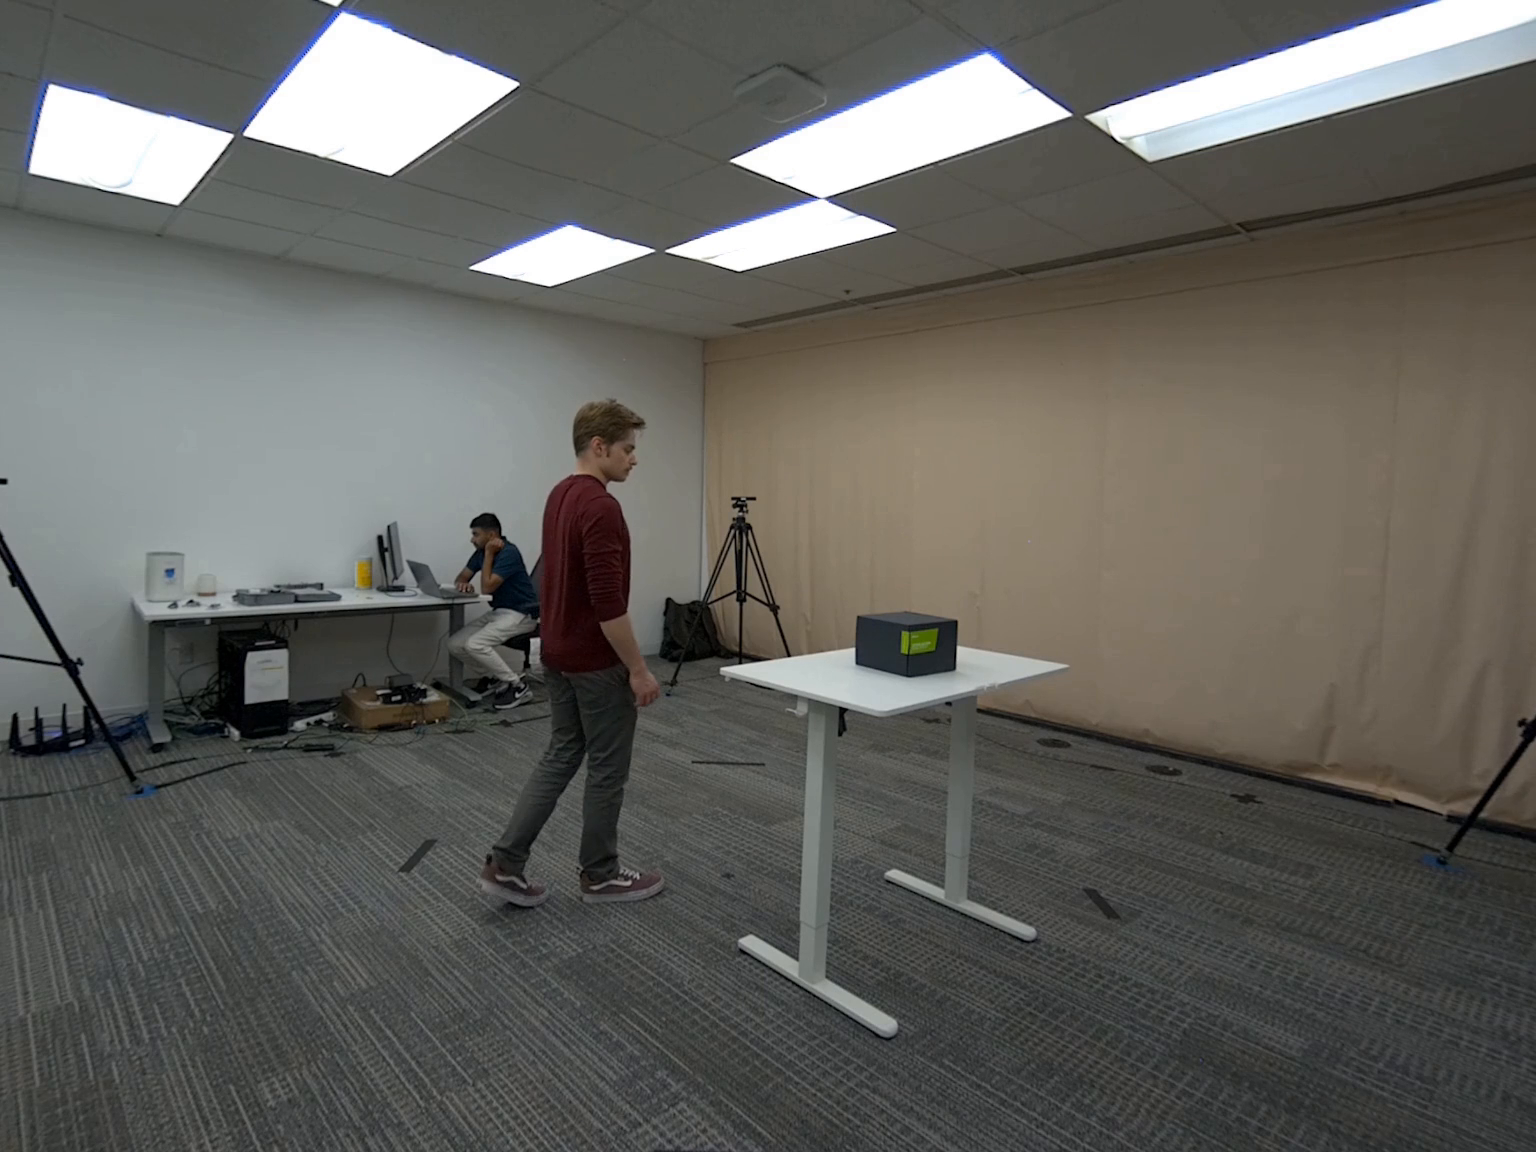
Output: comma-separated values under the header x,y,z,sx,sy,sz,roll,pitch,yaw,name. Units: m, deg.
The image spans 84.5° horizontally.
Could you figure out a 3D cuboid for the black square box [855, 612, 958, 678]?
x,y,z,sx,sy,sz,roll,pitch,yaw,name
0.421,0.204,2.599,0.223,0.155,0.222,-2,6,-39,black square box
